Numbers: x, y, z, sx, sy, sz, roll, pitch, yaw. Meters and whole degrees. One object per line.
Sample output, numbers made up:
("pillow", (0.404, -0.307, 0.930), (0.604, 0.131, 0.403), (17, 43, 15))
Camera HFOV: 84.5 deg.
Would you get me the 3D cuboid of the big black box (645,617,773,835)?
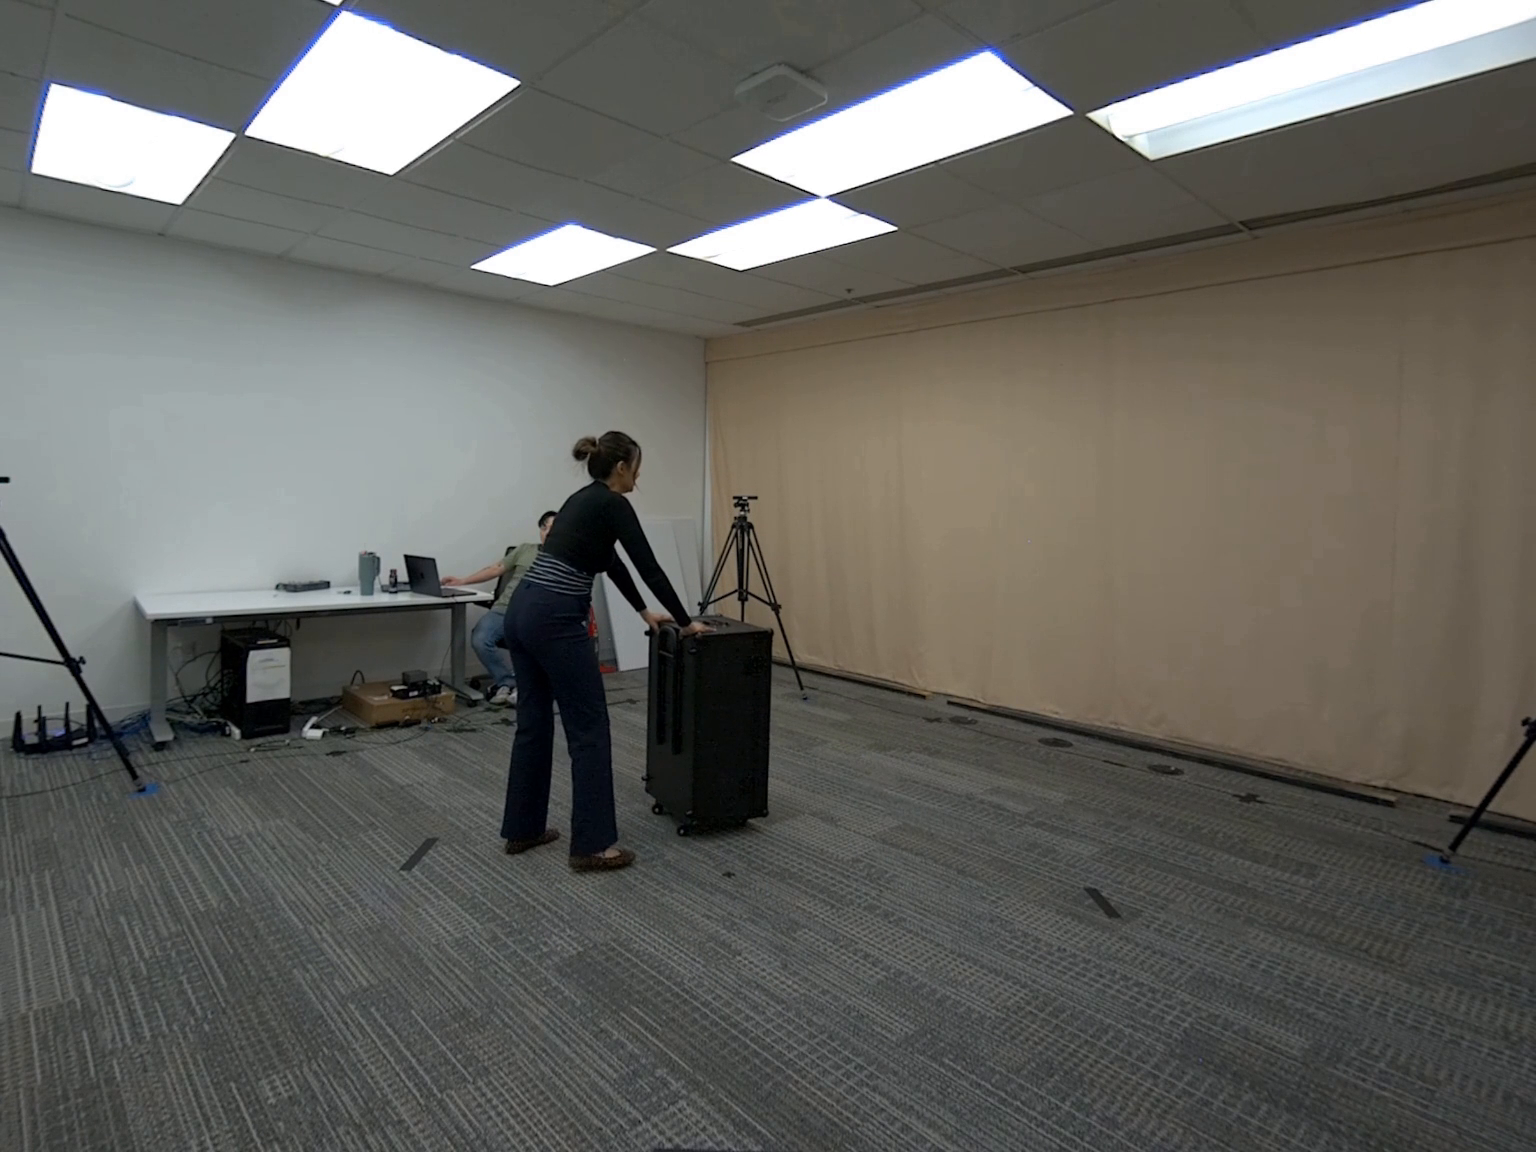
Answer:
("big black box", (-0.276, 0.629, 3.605), (0.388, 0.859, 0.533), (-1, 4, -29))
